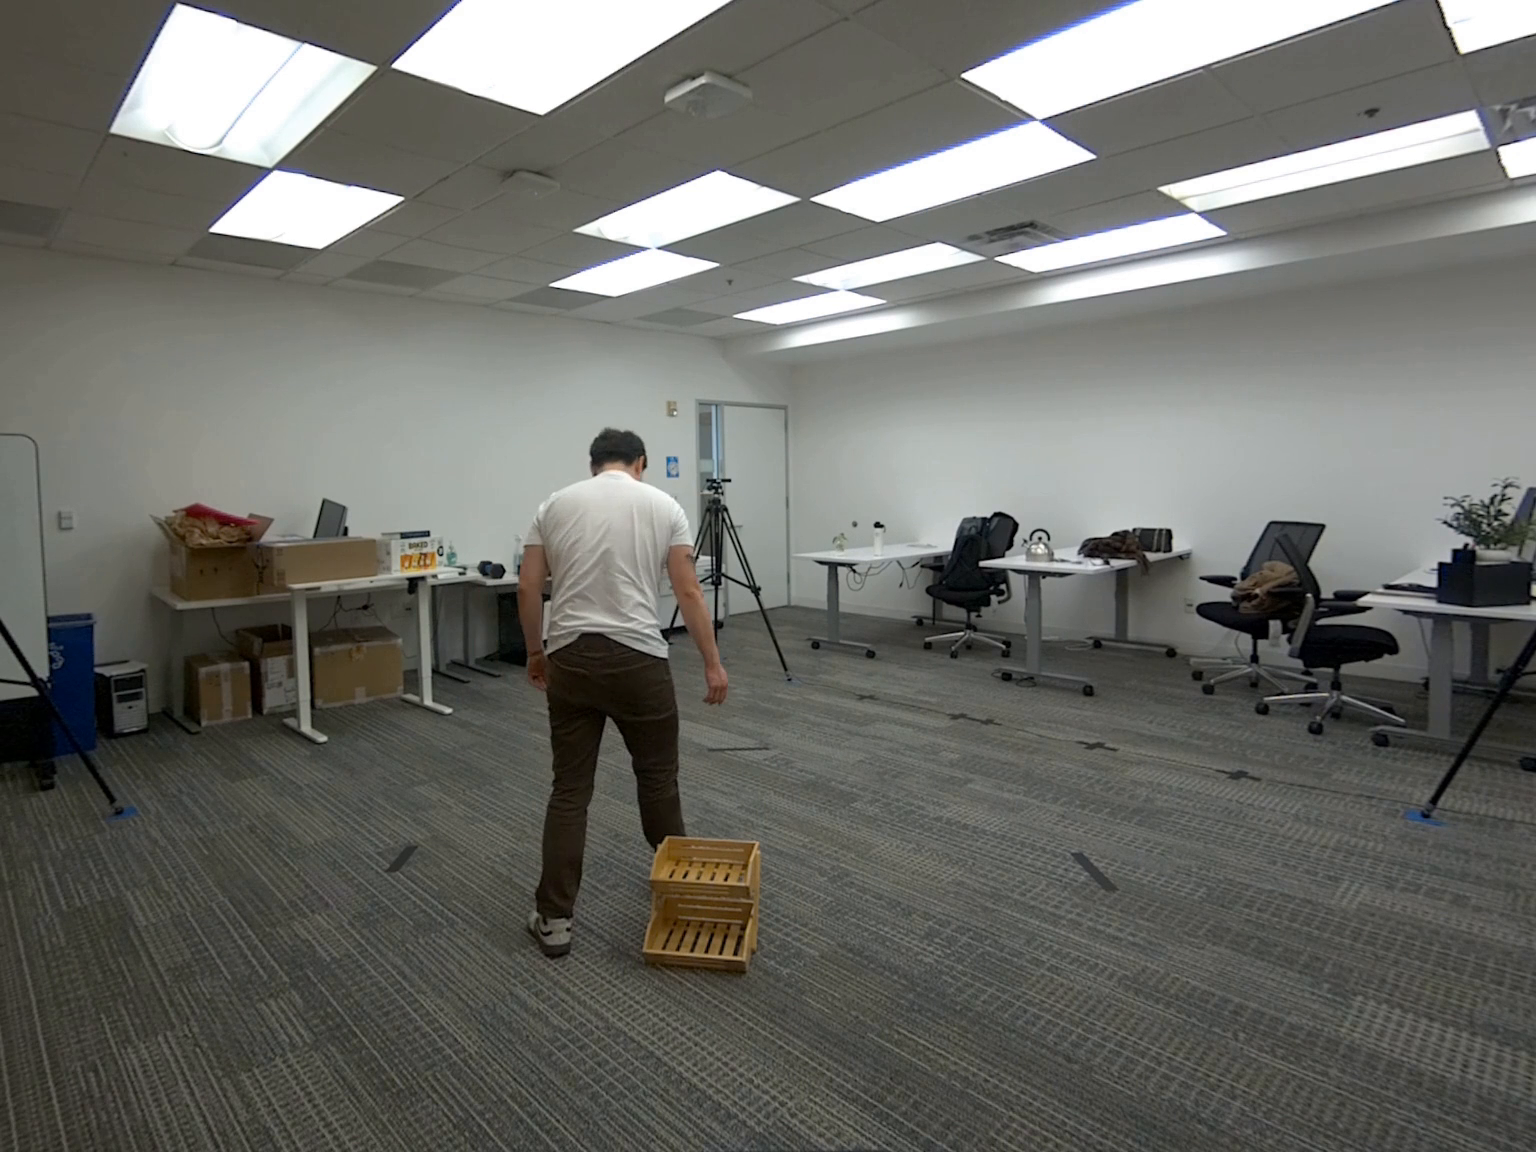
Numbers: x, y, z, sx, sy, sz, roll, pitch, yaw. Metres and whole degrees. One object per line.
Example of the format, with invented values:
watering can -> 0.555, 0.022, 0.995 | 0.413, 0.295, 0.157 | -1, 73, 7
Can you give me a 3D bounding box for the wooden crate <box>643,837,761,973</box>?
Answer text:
wooden crate -> -0.189, 0.976, 2.563 | 0.327, 0.273, 0.300 | -1, 3, 9
